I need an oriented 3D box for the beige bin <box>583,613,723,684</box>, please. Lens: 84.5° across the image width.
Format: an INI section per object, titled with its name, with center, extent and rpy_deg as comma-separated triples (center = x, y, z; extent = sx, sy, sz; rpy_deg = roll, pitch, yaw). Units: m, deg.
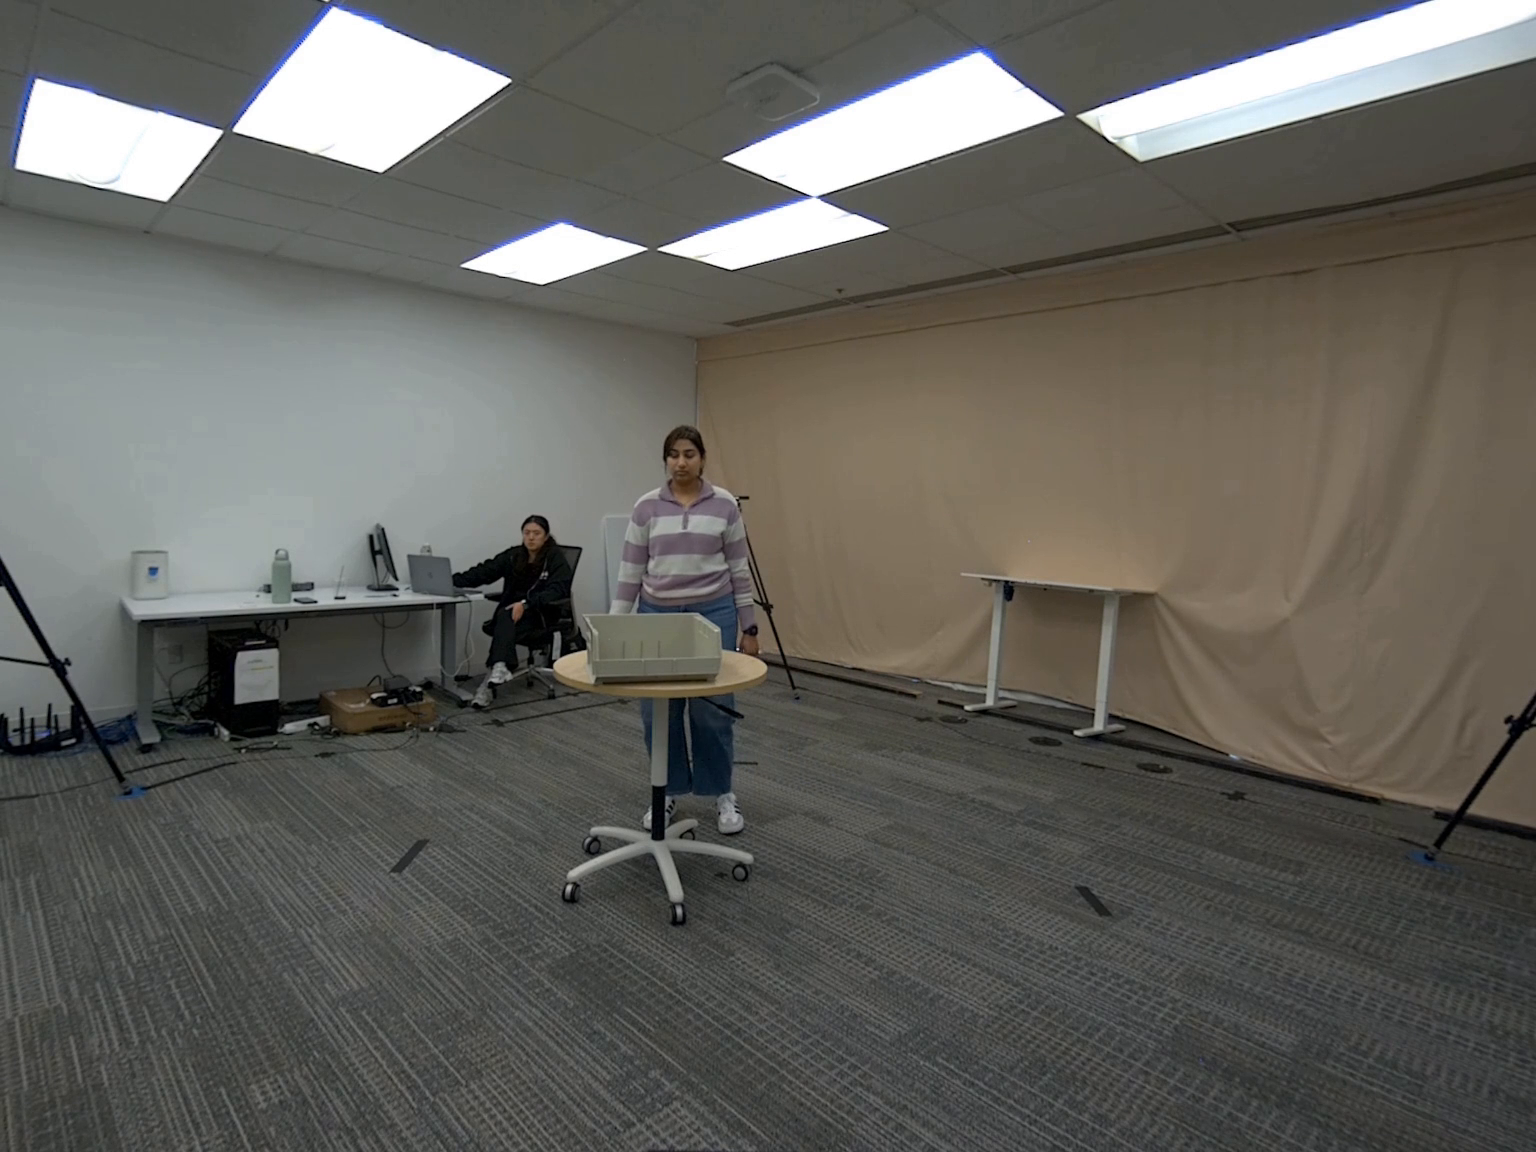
[beige bin]
center = -0.414, 0.251, 2.870
extent = 0.417, 0.188, 0.383
rpy_deg = 0, 4, -17
